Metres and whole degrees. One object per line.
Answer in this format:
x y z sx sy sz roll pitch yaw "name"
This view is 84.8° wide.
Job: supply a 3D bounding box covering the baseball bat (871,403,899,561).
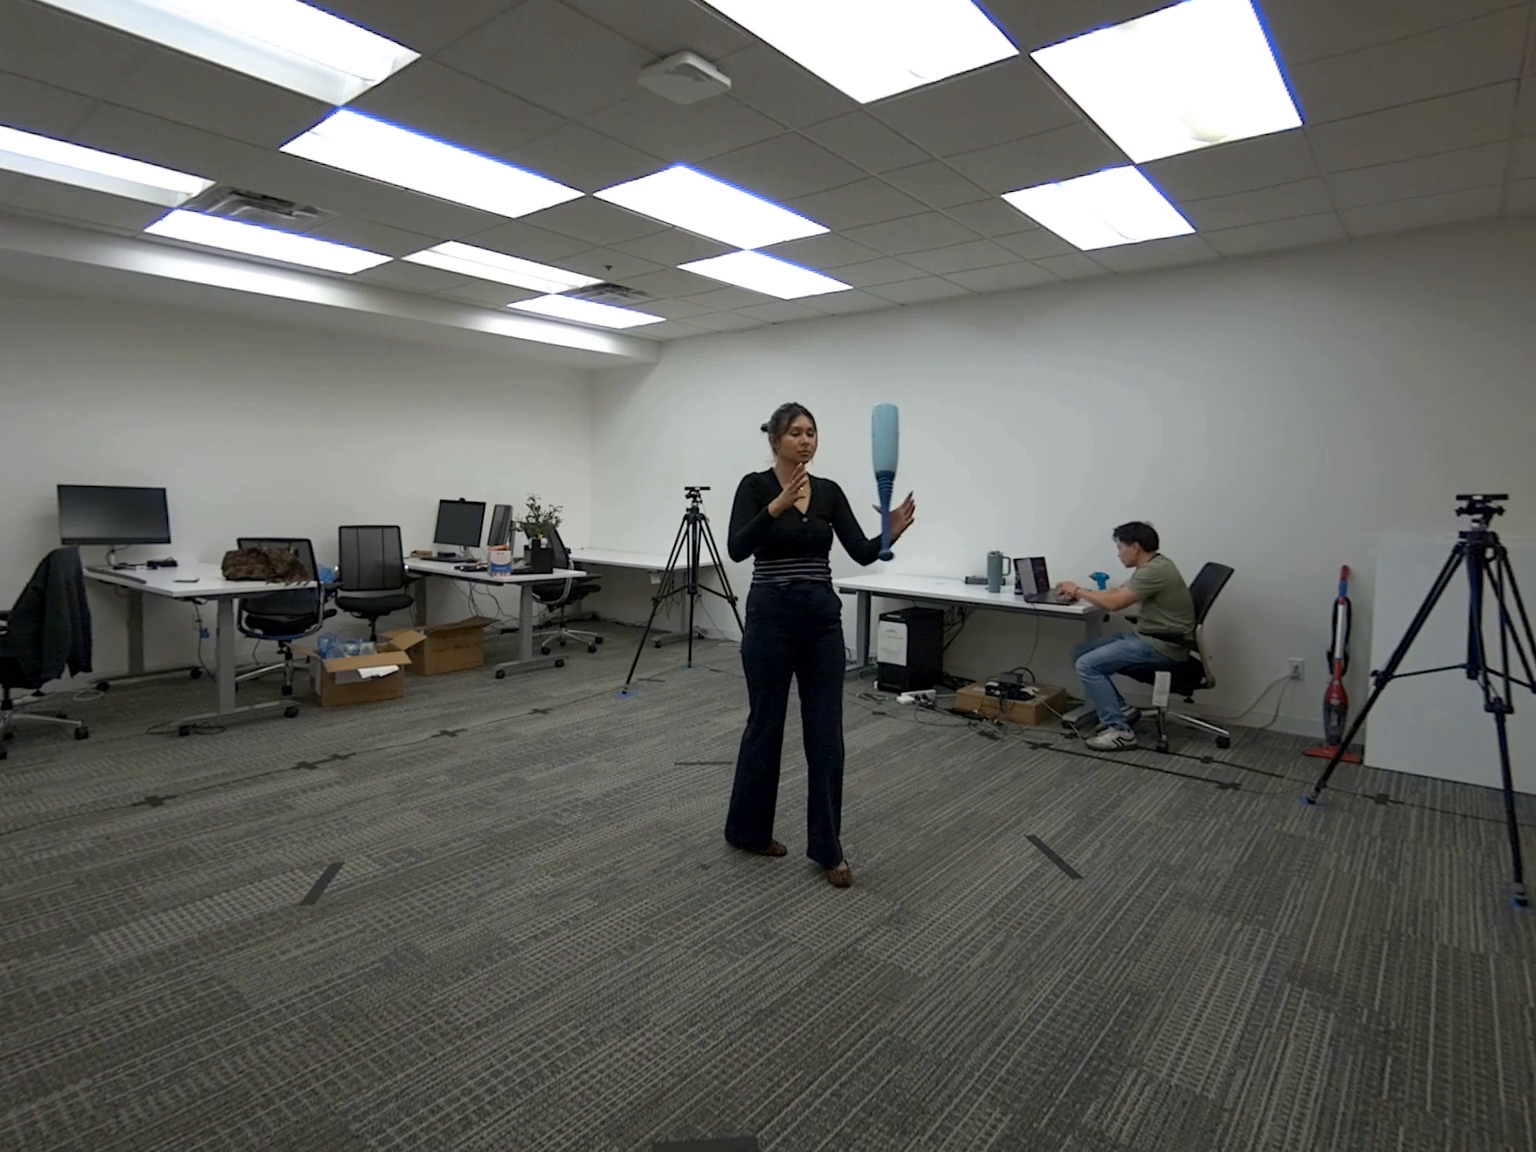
0.374 -0.270 2.750 0.089 0.551 0.088 3 -18 -1 "baseball bat"
